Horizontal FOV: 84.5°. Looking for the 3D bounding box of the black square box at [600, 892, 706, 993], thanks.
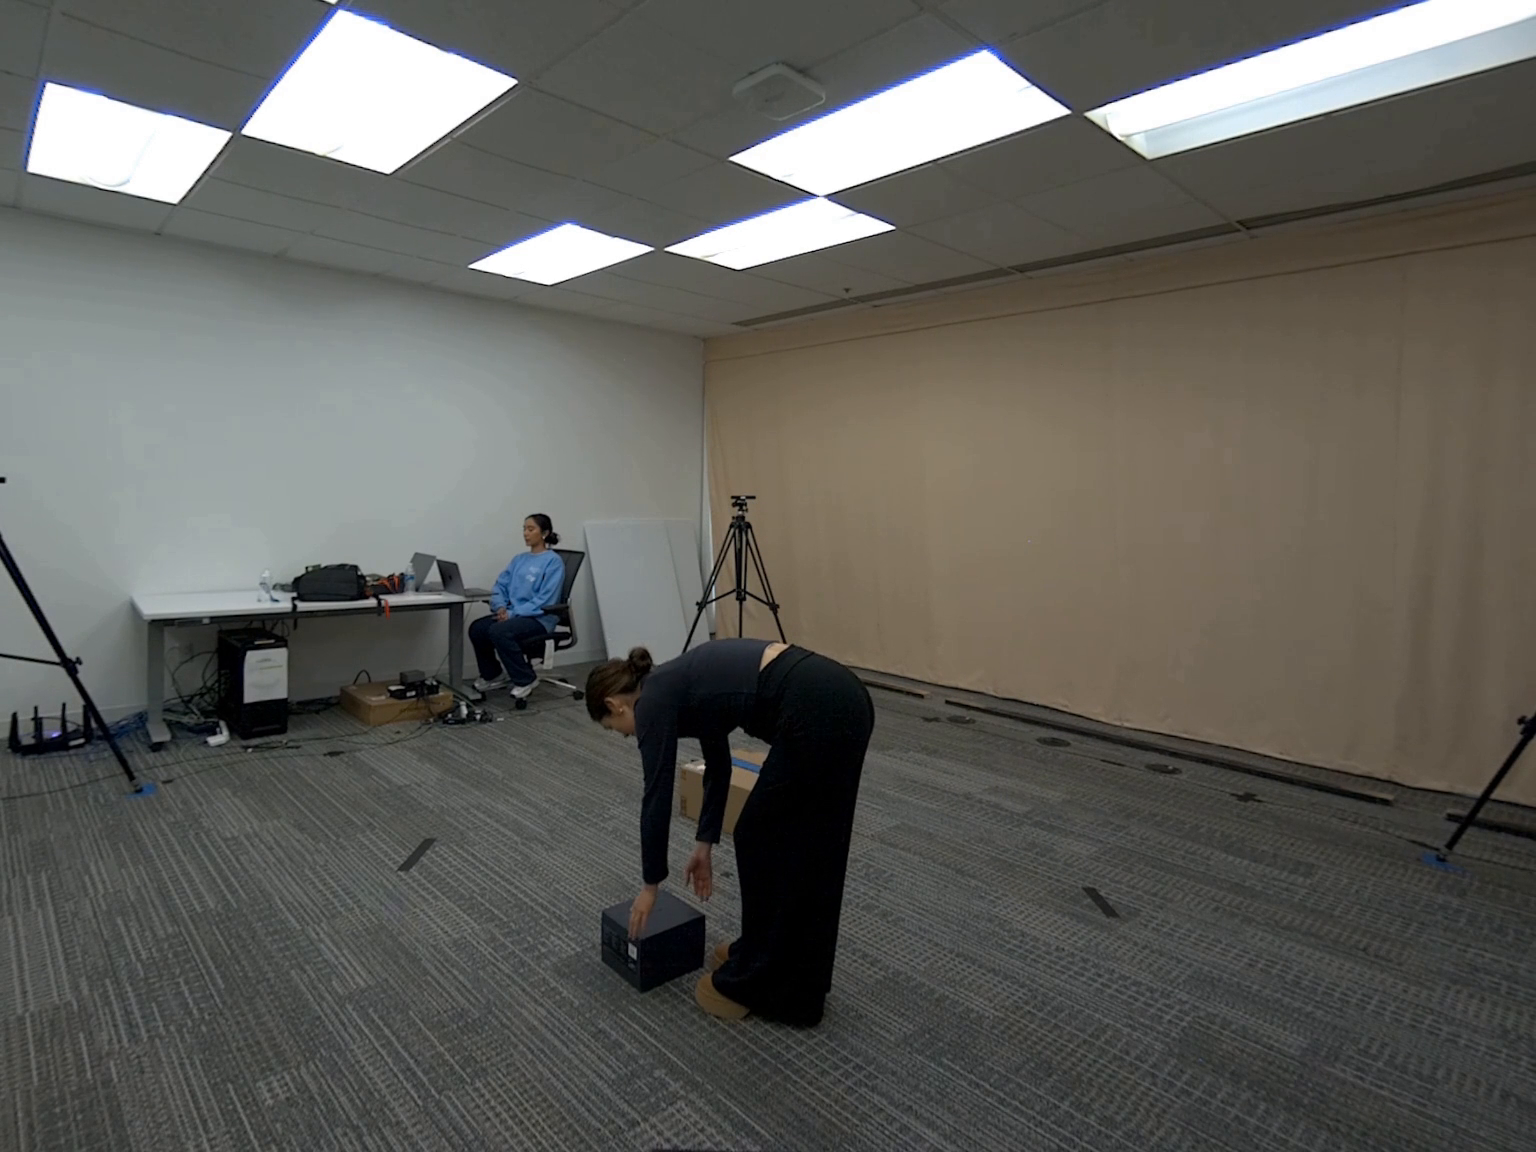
[{"bbox_3d":[-0.345,1.069,2.495,0.223,0.155,0.222,-3,6,-42],"label":"black square box"}]
